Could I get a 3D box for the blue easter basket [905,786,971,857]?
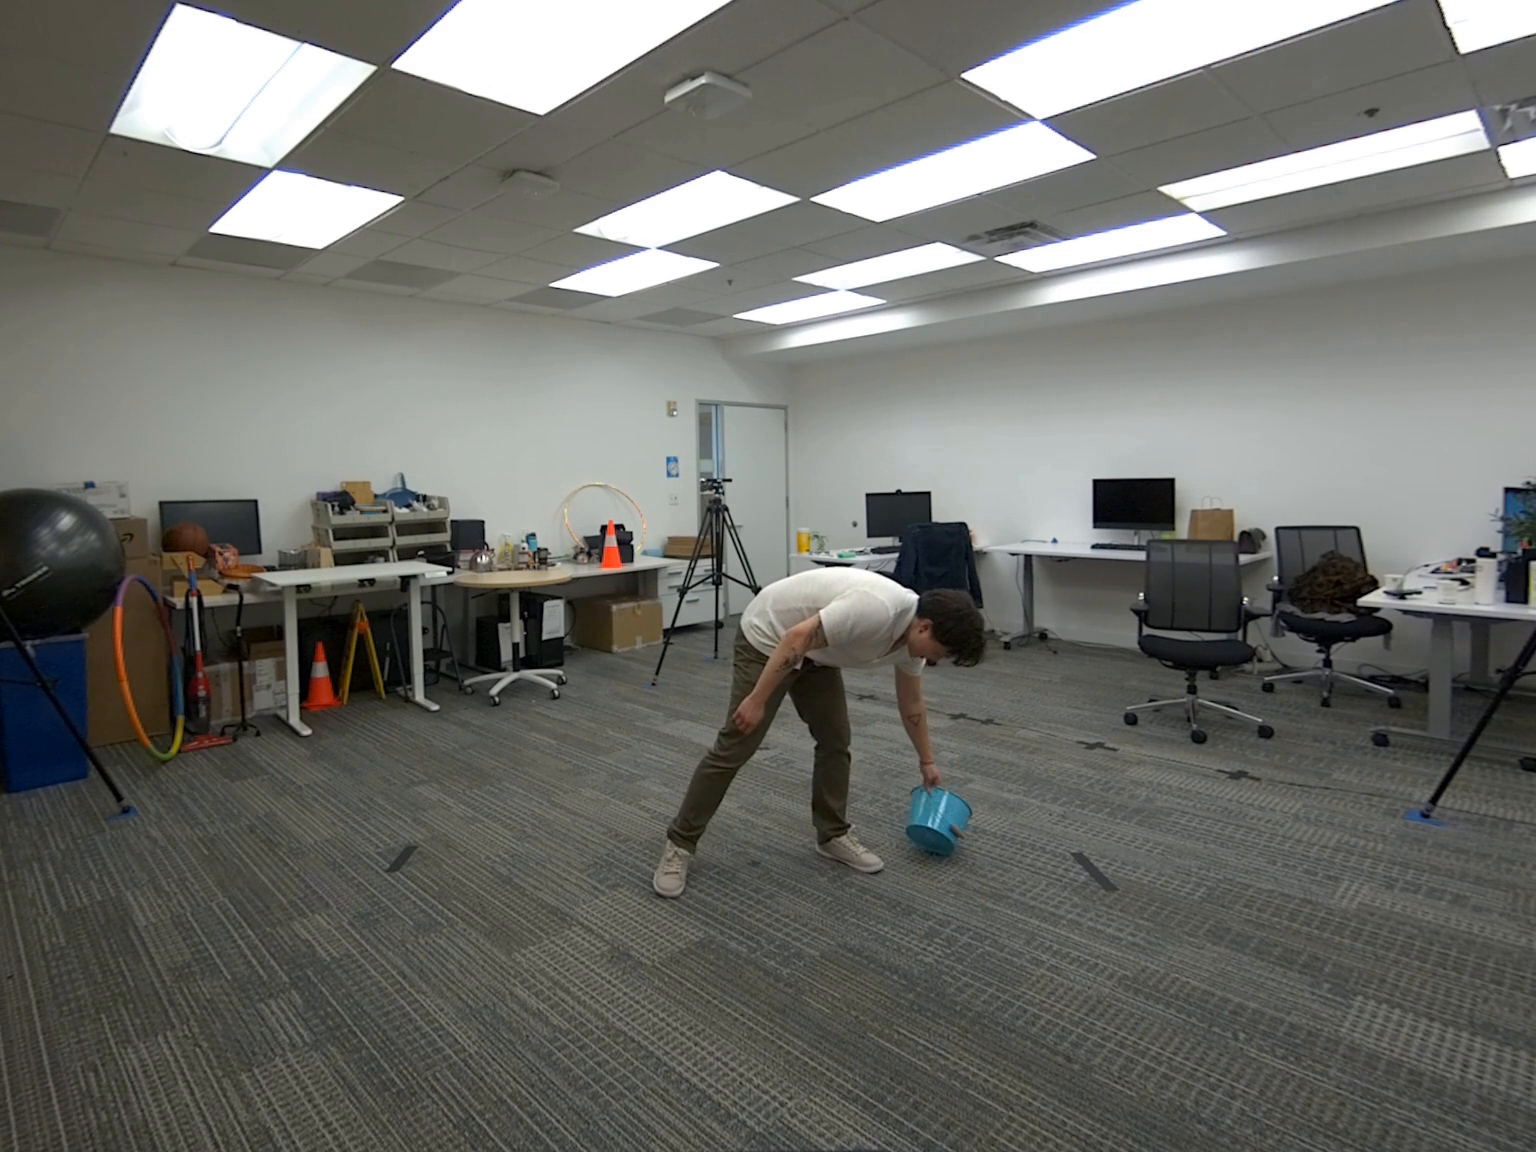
[{"bbox_3d":[0.617,0.907,3.164,0.251,0.235,0.156,3,43,36],"label":"blue easter basket"}]
